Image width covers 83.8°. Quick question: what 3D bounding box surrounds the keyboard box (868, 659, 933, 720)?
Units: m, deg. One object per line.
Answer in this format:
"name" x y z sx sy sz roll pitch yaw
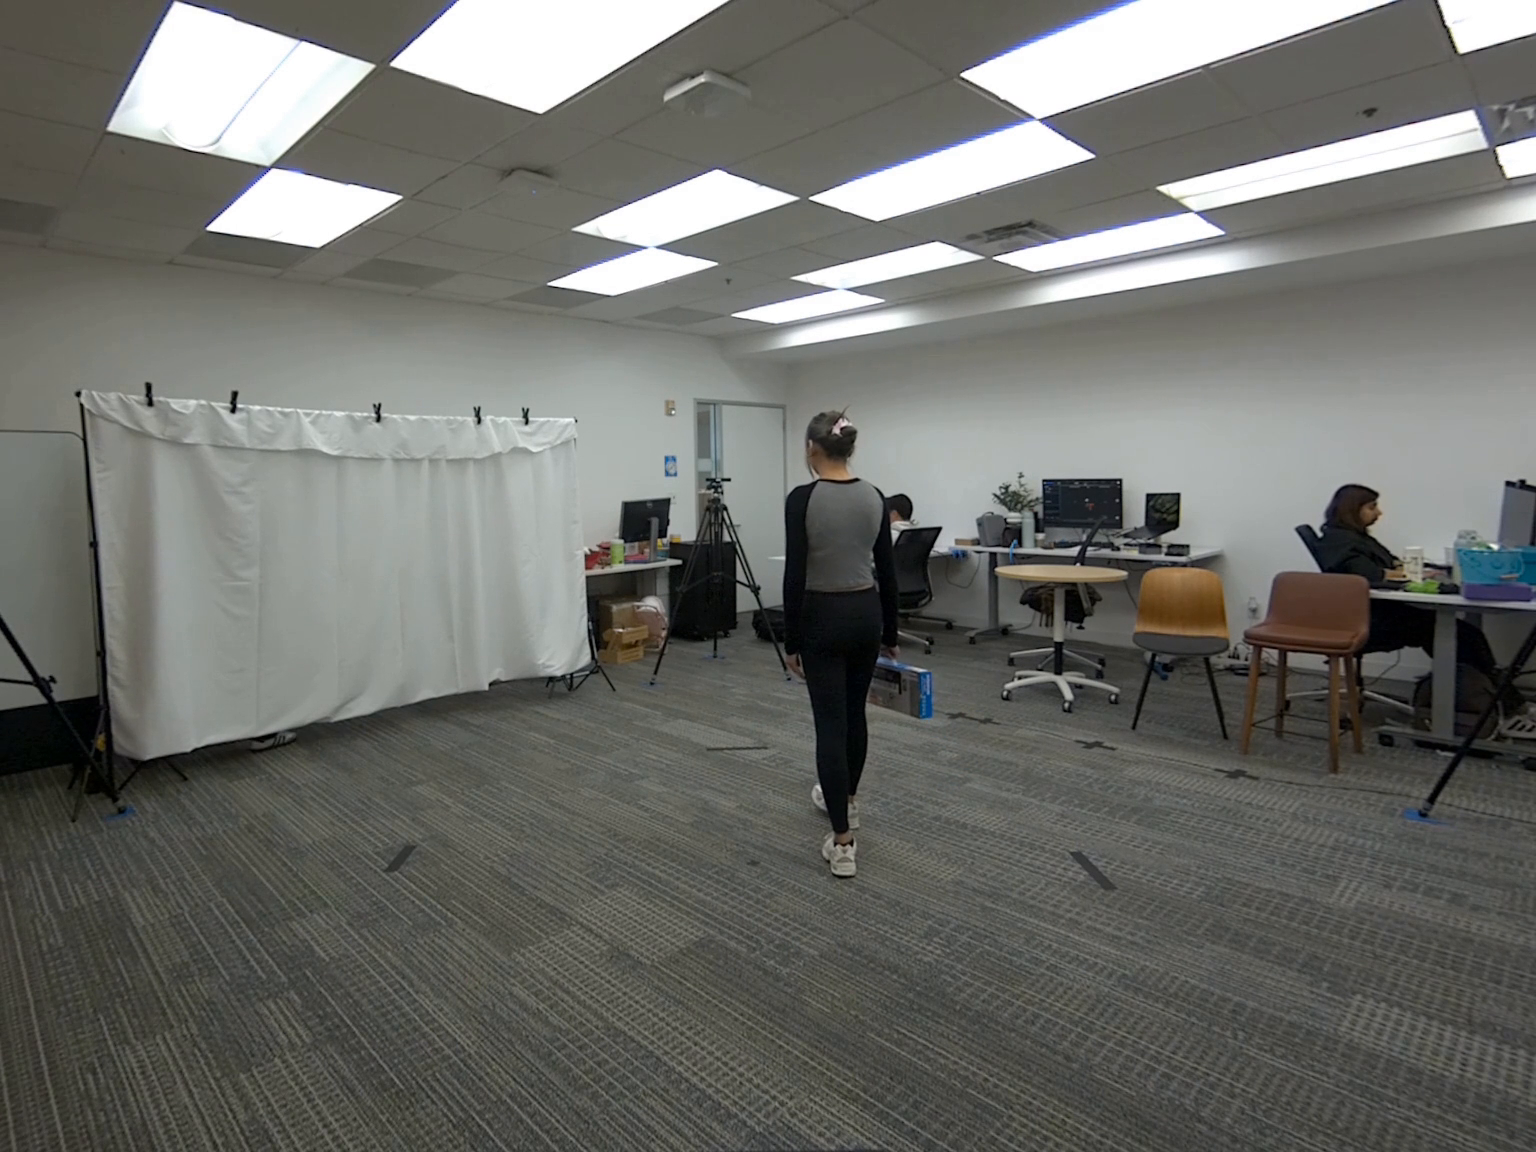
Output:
"keyboard box" 0.463 0.419 3.314 0.058 0.175 0.448 -2 4 -29
